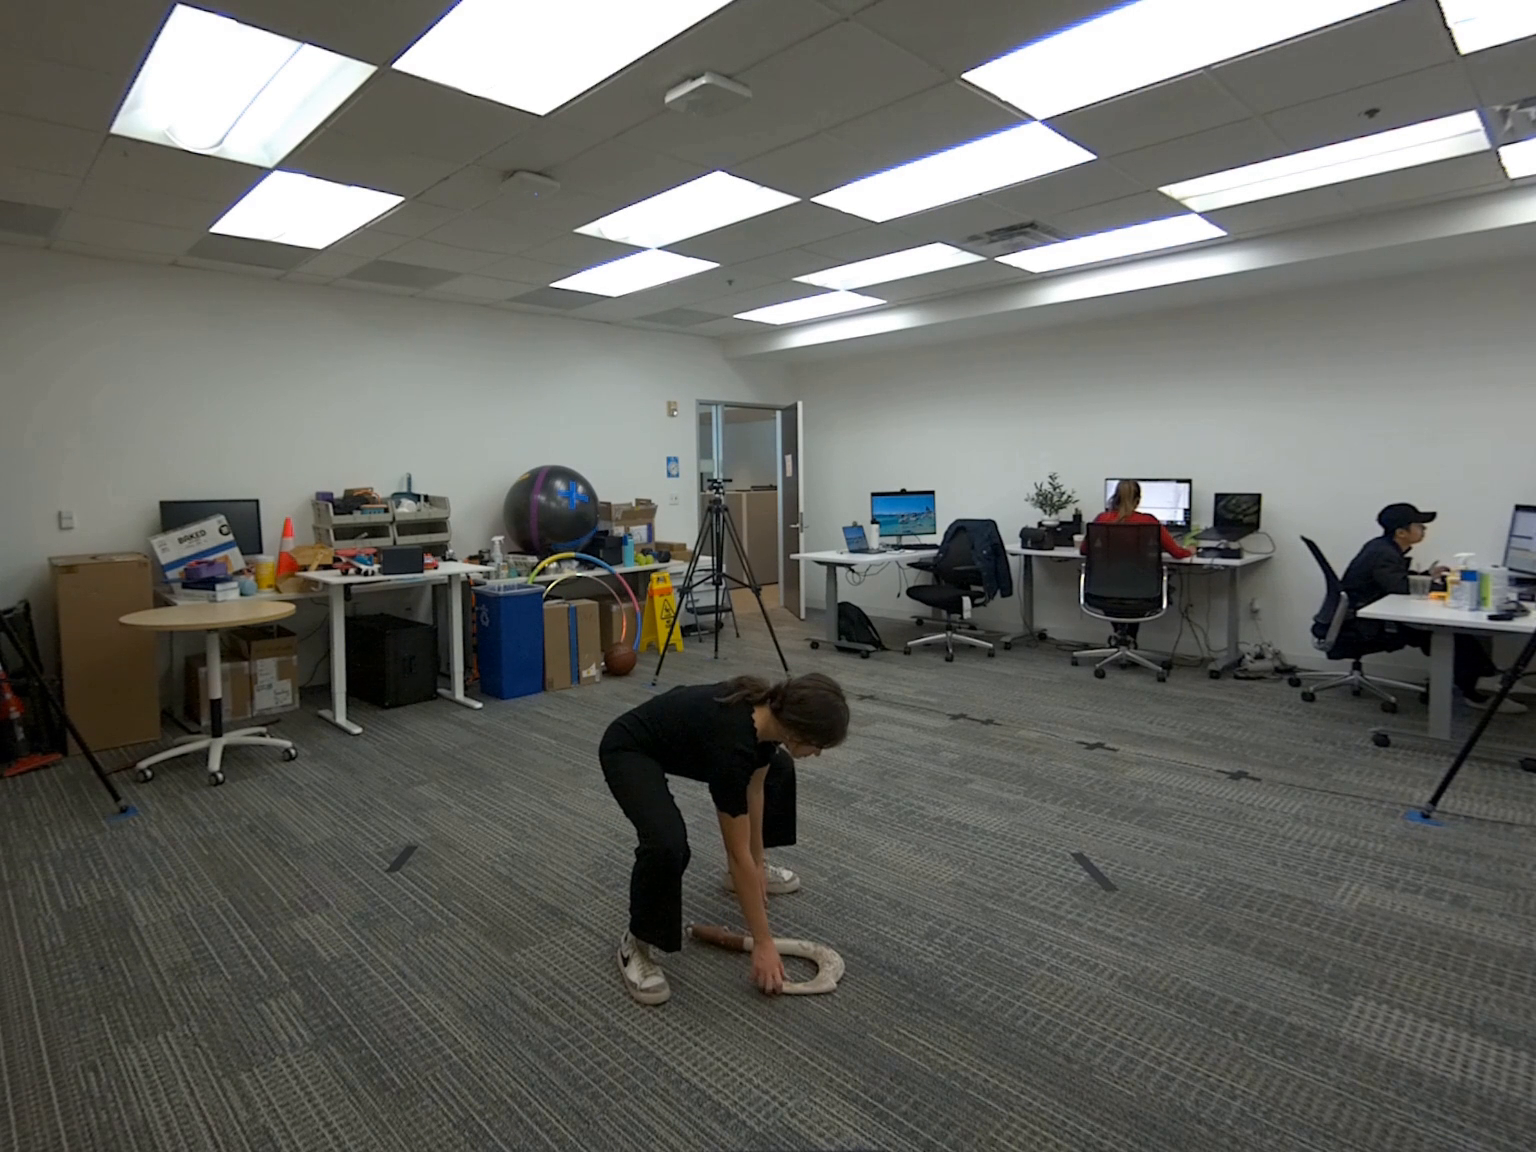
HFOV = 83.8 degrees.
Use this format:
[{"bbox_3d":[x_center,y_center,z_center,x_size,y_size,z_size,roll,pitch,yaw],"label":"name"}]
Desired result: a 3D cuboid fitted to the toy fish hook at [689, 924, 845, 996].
[{"bbox_3d":[-0.033,1.095,2.466,0.518,0.048,0.220,2,4,24],"label":"toy fish hook"}]
